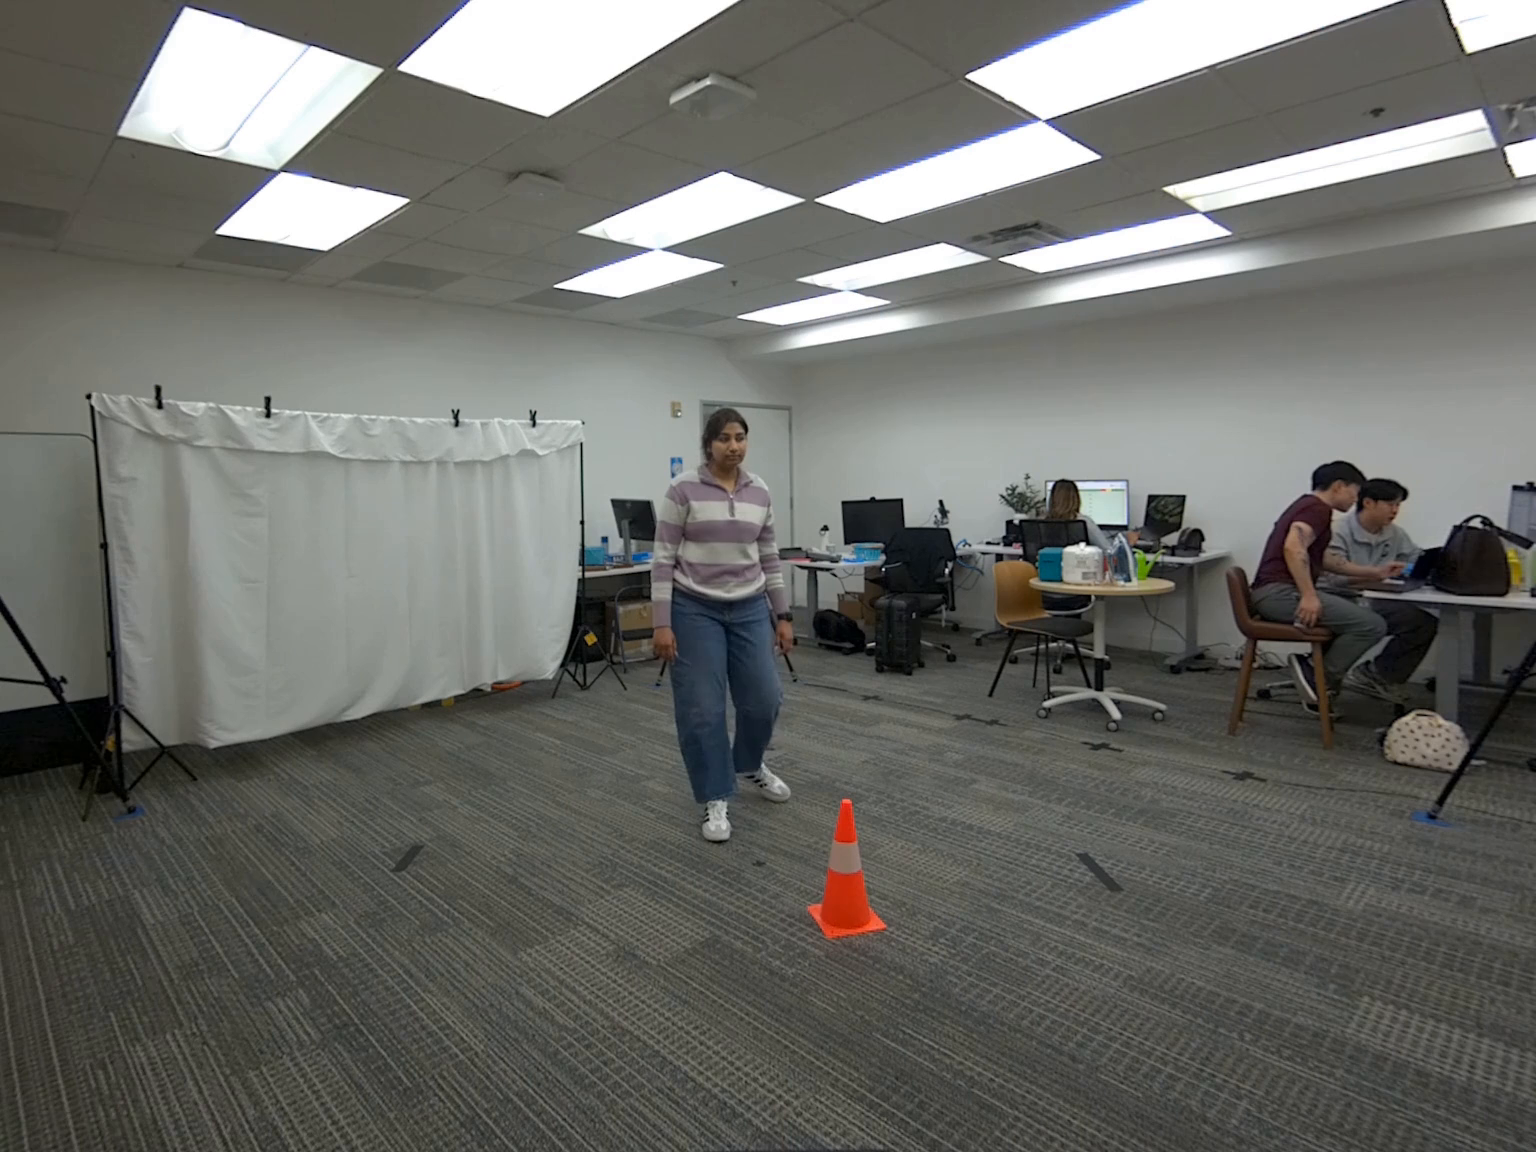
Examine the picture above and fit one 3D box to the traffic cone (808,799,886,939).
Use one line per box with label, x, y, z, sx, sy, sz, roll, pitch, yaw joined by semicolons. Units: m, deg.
traffic cone;0.251;0.904;2.711;0.201;0.383;0.208;-1;3;-14
